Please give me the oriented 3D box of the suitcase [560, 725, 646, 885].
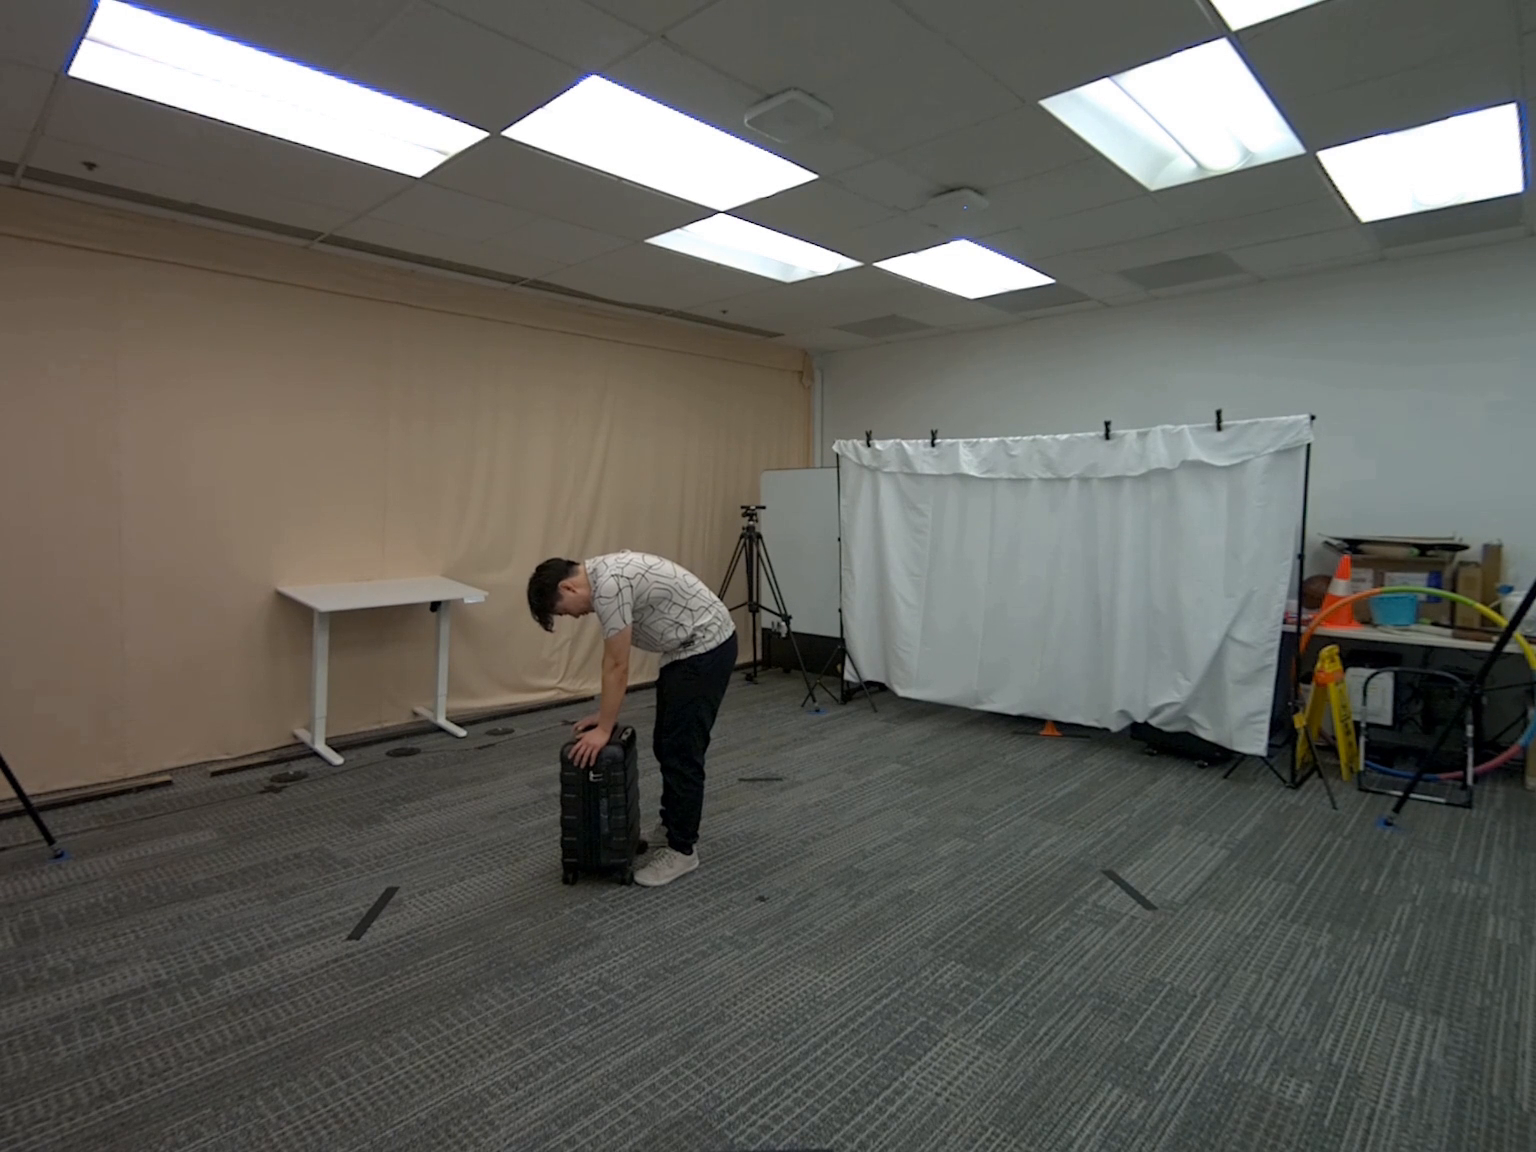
[{"bbox_3d":[-0.644,0.858,3.224,0.249,0.548,0.375,-2,4,1],"label":"suitcase"}]
